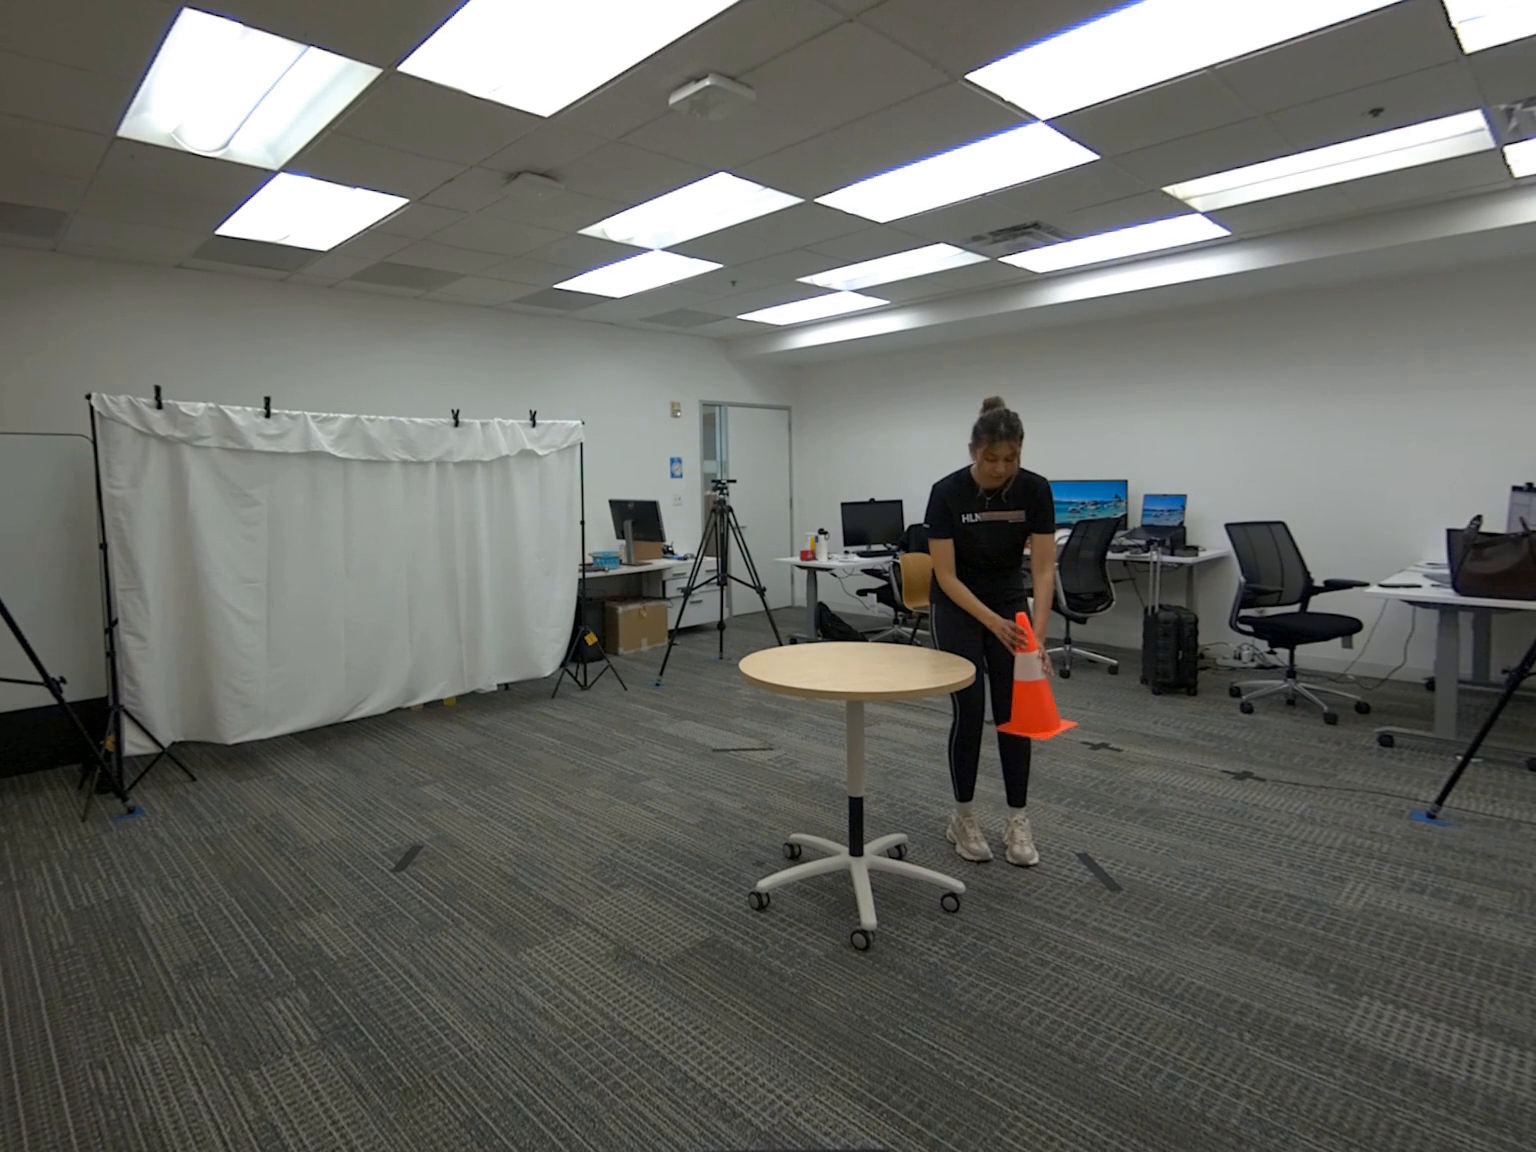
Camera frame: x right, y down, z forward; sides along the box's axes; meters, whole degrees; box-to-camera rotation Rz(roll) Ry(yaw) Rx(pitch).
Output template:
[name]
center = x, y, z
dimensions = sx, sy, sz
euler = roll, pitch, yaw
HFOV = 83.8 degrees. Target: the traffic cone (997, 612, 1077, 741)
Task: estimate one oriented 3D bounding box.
[traffic cone]
center = 0.860, 0.318, 2.806
dimensions = 0.201, 0.382, 0.208
euler = -9, 6, -23
